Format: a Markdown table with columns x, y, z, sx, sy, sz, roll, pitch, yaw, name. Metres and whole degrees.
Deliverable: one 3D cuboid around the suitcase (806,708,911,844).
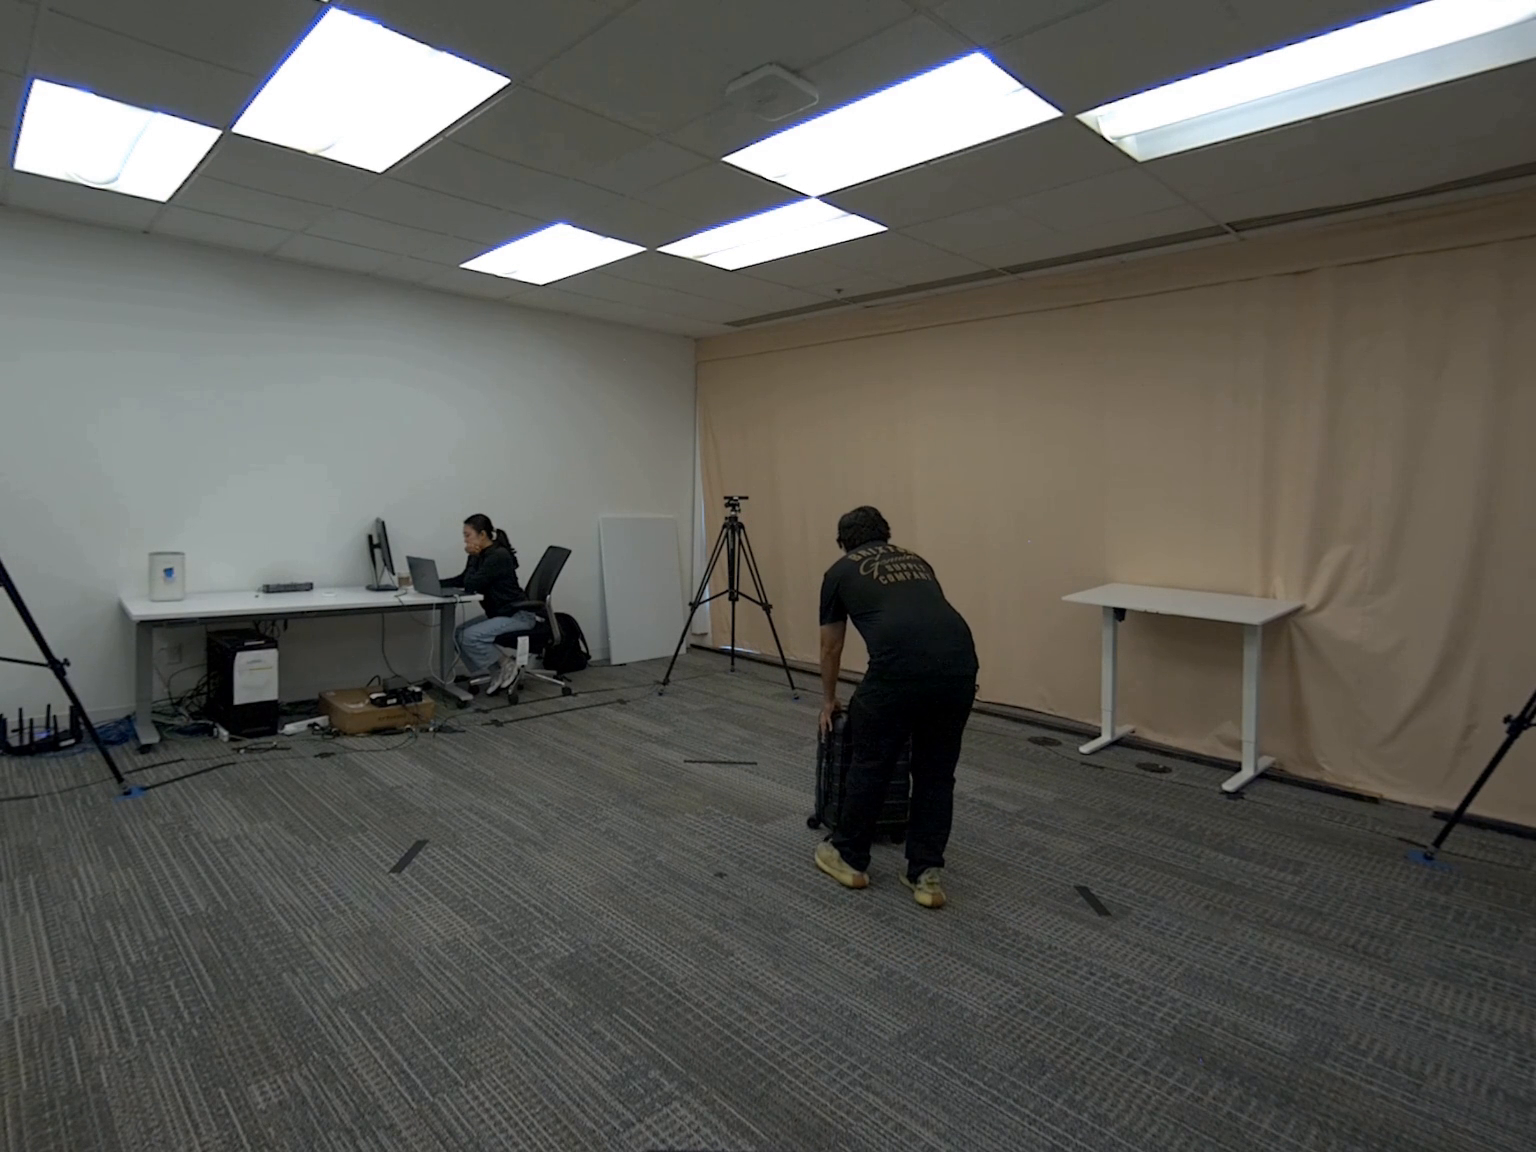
| x | y | z | sx | sy | sz | roll | pitch | yaw | name |
| --- | --- | --- | --- | --- | --- | --- | --- | --- | --- |
| 0.388 | 0.809 | 3.482 | 0.370 | 0.547 | 0.252 | 1 | 5 | -16 | suitcase |
